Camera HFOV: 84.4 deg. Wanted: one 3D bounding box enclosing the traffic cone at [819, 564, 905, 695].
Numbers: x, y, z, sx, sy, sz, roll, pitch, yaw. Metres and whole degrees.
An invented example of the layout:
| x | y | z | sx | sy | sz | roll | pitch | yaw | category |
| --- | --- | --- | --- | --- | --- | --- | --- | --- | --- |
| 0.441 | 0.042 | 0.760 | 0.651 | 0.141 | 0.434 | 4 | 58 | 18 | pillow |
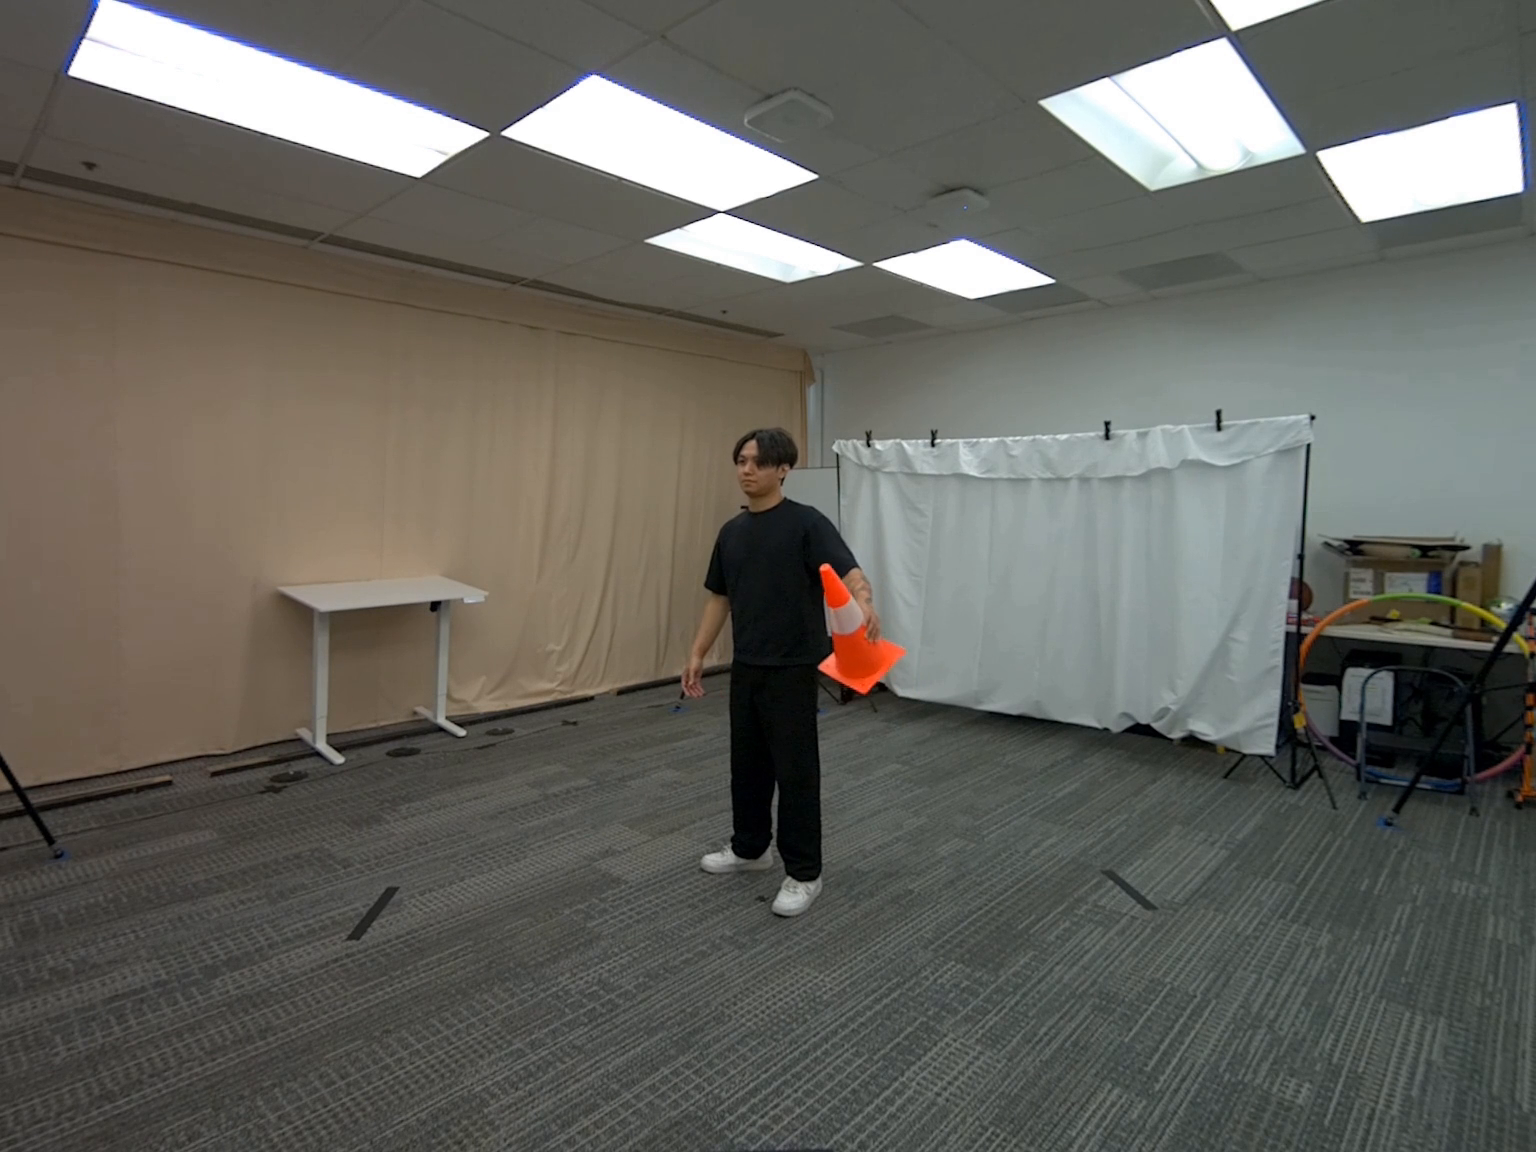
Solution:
| x | y | z | sx | sy | sz | roll | pitch | yaw | category |
| --- | --- | --- | --- | --- | --- | --- | --- | --- | --- |
| 0.225 | 0.124 | 2.447 | 0.212 | 0.372 | 0.202 | 17 | 54 | 43 | traffic cone |
